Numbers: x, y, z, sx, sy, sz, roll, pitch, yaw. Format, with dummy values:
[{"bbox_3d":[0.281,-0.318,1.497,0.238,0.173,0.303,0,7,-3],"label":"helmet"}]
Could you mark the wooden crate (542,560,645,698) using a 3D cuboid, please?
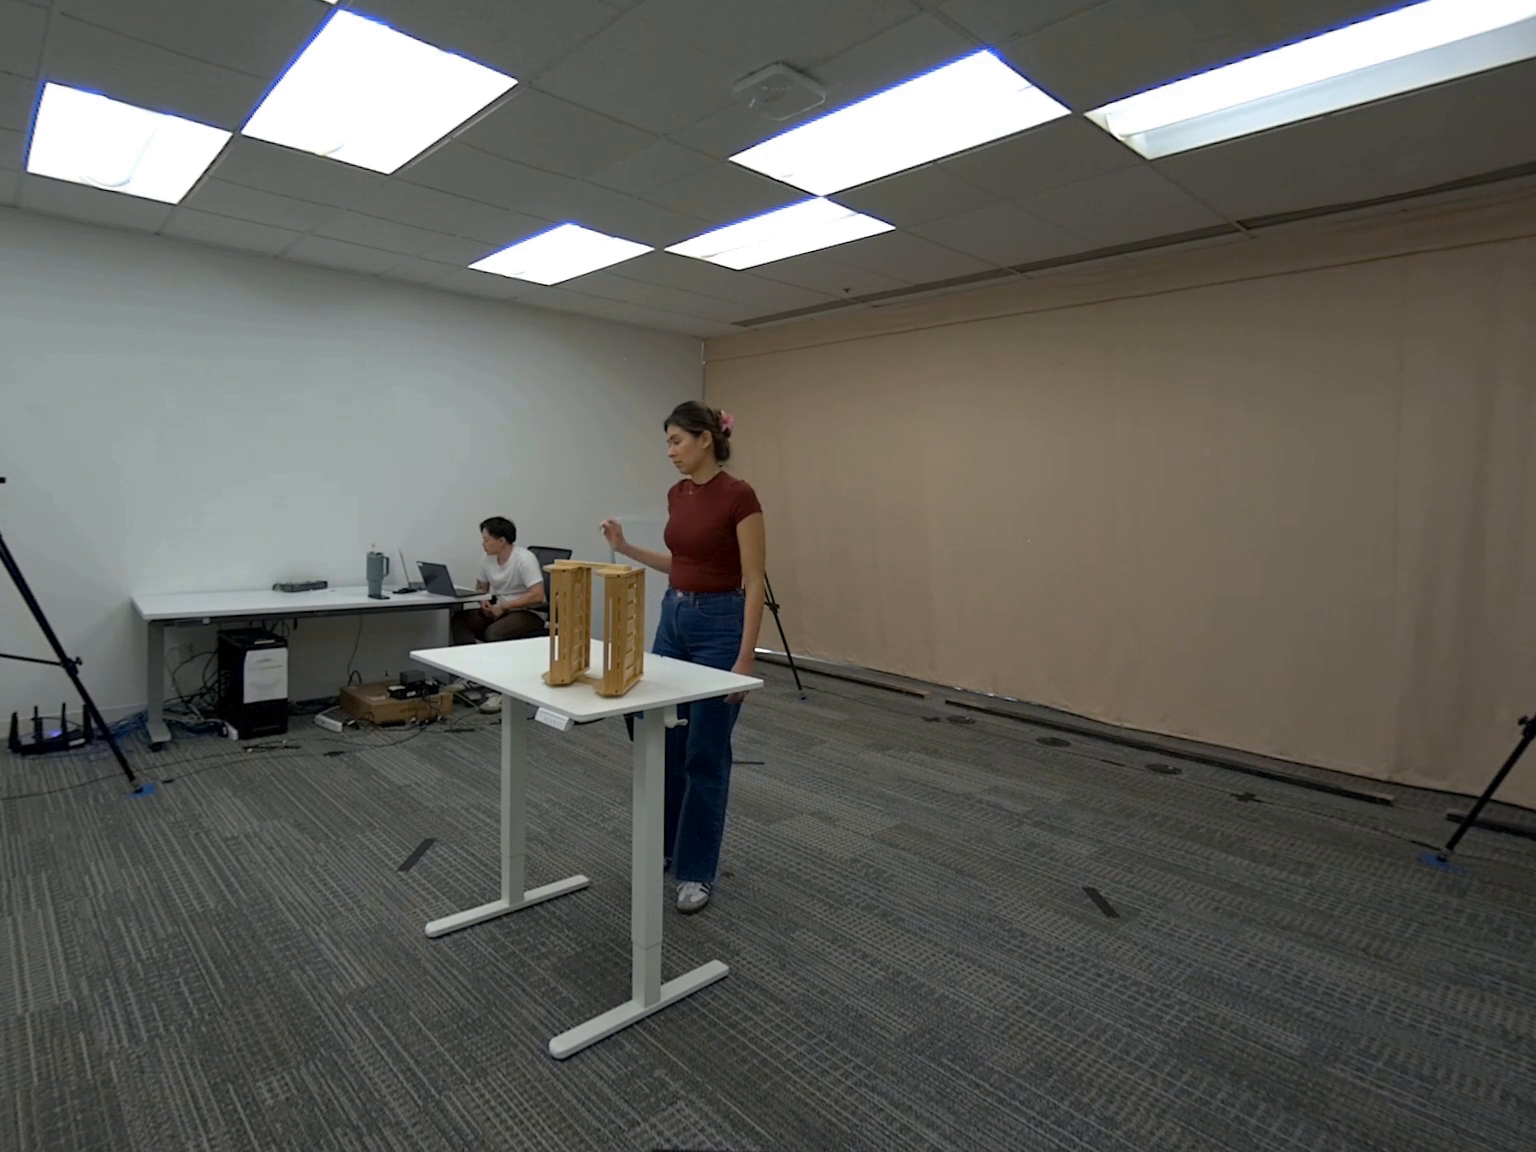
[{"bbox_3d":[-0.496,0.135,2.219,0.275,0.324,0.301,2,3,6],"label":"wooden crate"}]
